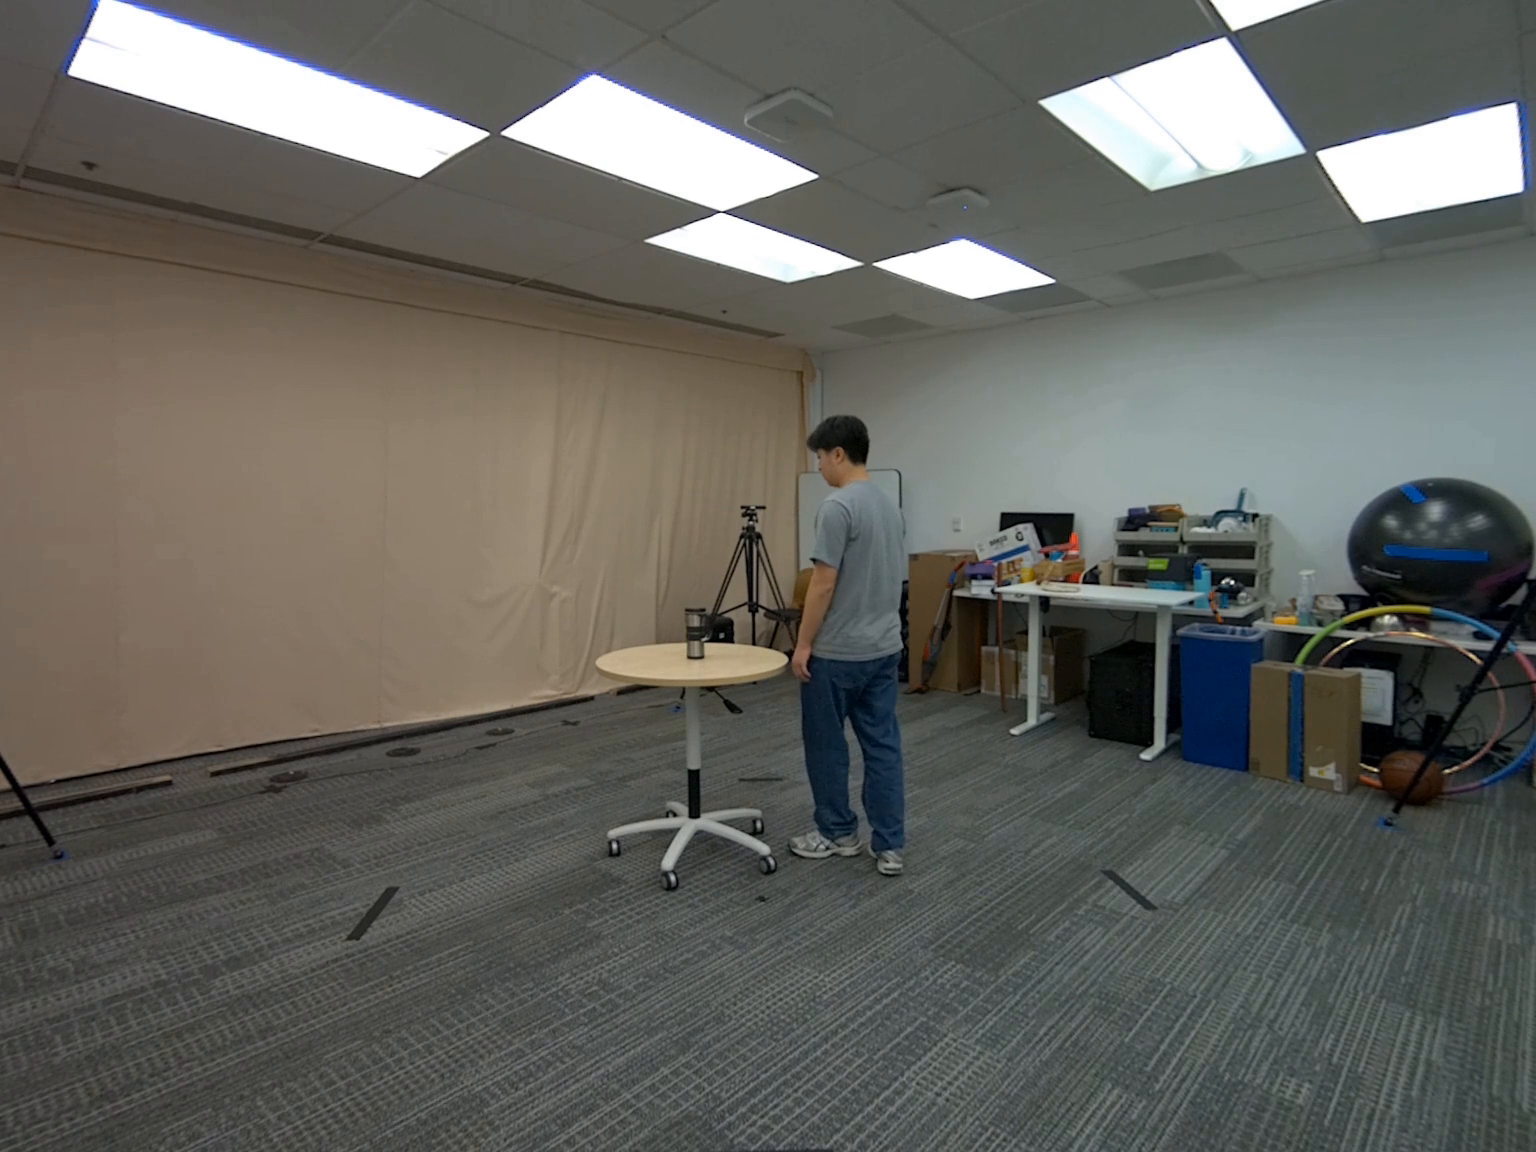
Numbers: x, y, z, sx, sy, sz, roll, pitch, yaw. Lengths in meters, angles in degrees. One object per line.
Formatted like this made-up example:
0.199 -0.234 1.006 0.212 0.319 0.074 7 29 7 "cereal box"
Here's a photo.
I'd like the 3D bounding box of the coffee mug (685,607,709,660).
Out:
-0.276 0.232 3.374 0.126 0.203 0.085 -2 -3 42 "coffee mug"
